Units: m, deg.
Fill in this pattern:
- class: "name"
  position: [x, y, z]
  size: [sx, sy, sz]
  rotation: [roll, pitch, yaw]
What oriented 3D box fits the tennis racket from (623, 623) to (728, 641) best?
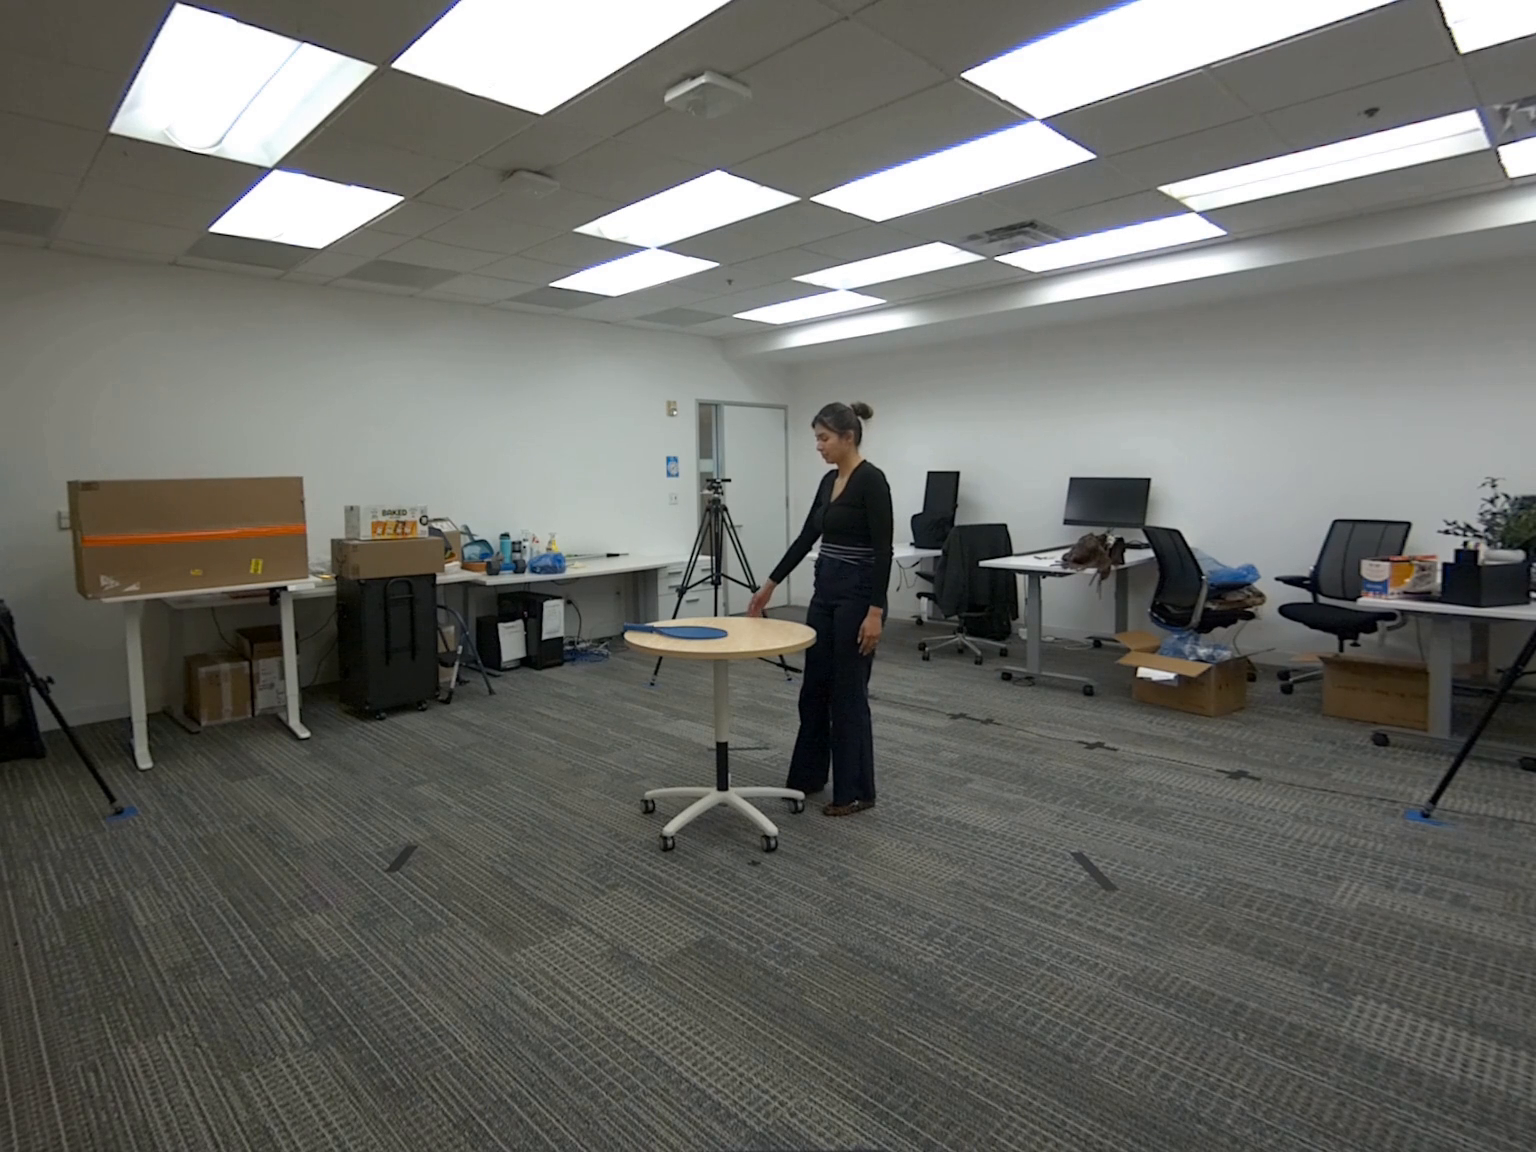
- class: "tennis racket"
  position: [-0.378, 0.220, 3.404]
  size: [0.440, 0.031, 0.211]
  rotation: [3, 7, 17]
